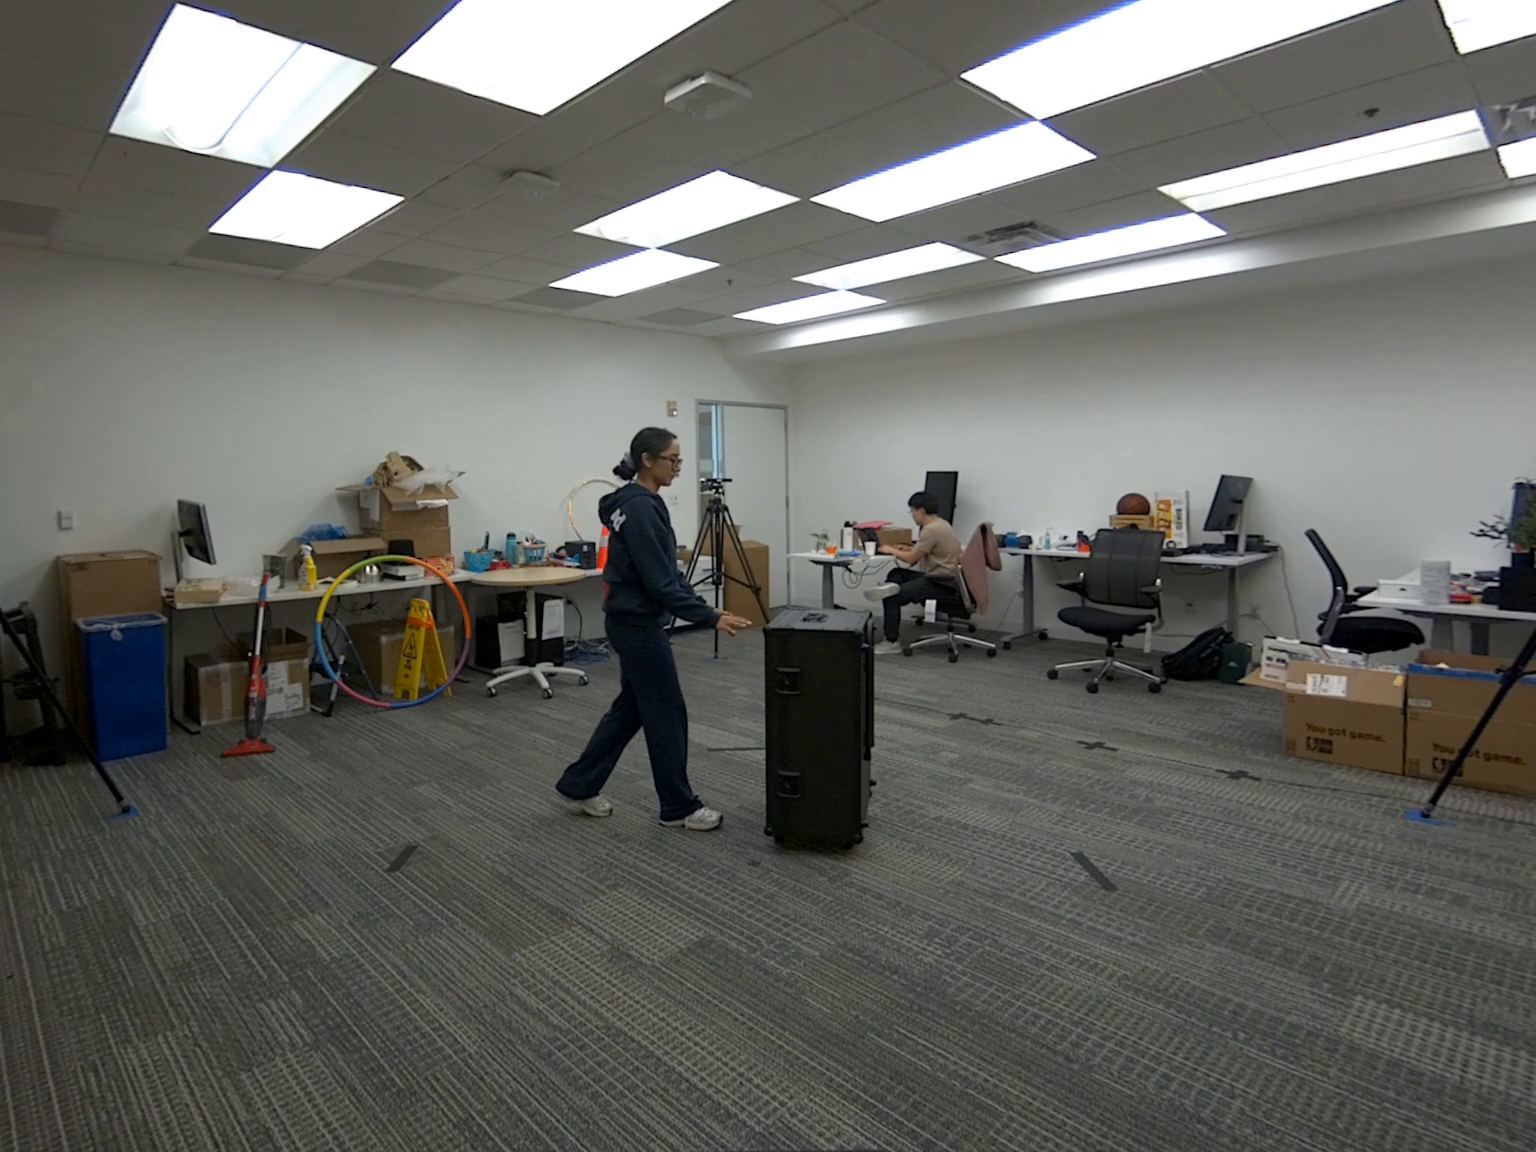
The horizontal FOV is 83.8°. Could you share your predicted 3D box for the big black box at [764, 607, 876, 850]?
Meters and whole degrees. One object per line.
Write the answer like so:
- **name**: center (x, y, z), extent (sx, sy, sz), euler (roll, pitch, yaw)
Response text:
- **big black box**: center (0.222, 0.594, 3.340), extent (0.402, 0.858, 0.516), euler (1, 5, 13)
